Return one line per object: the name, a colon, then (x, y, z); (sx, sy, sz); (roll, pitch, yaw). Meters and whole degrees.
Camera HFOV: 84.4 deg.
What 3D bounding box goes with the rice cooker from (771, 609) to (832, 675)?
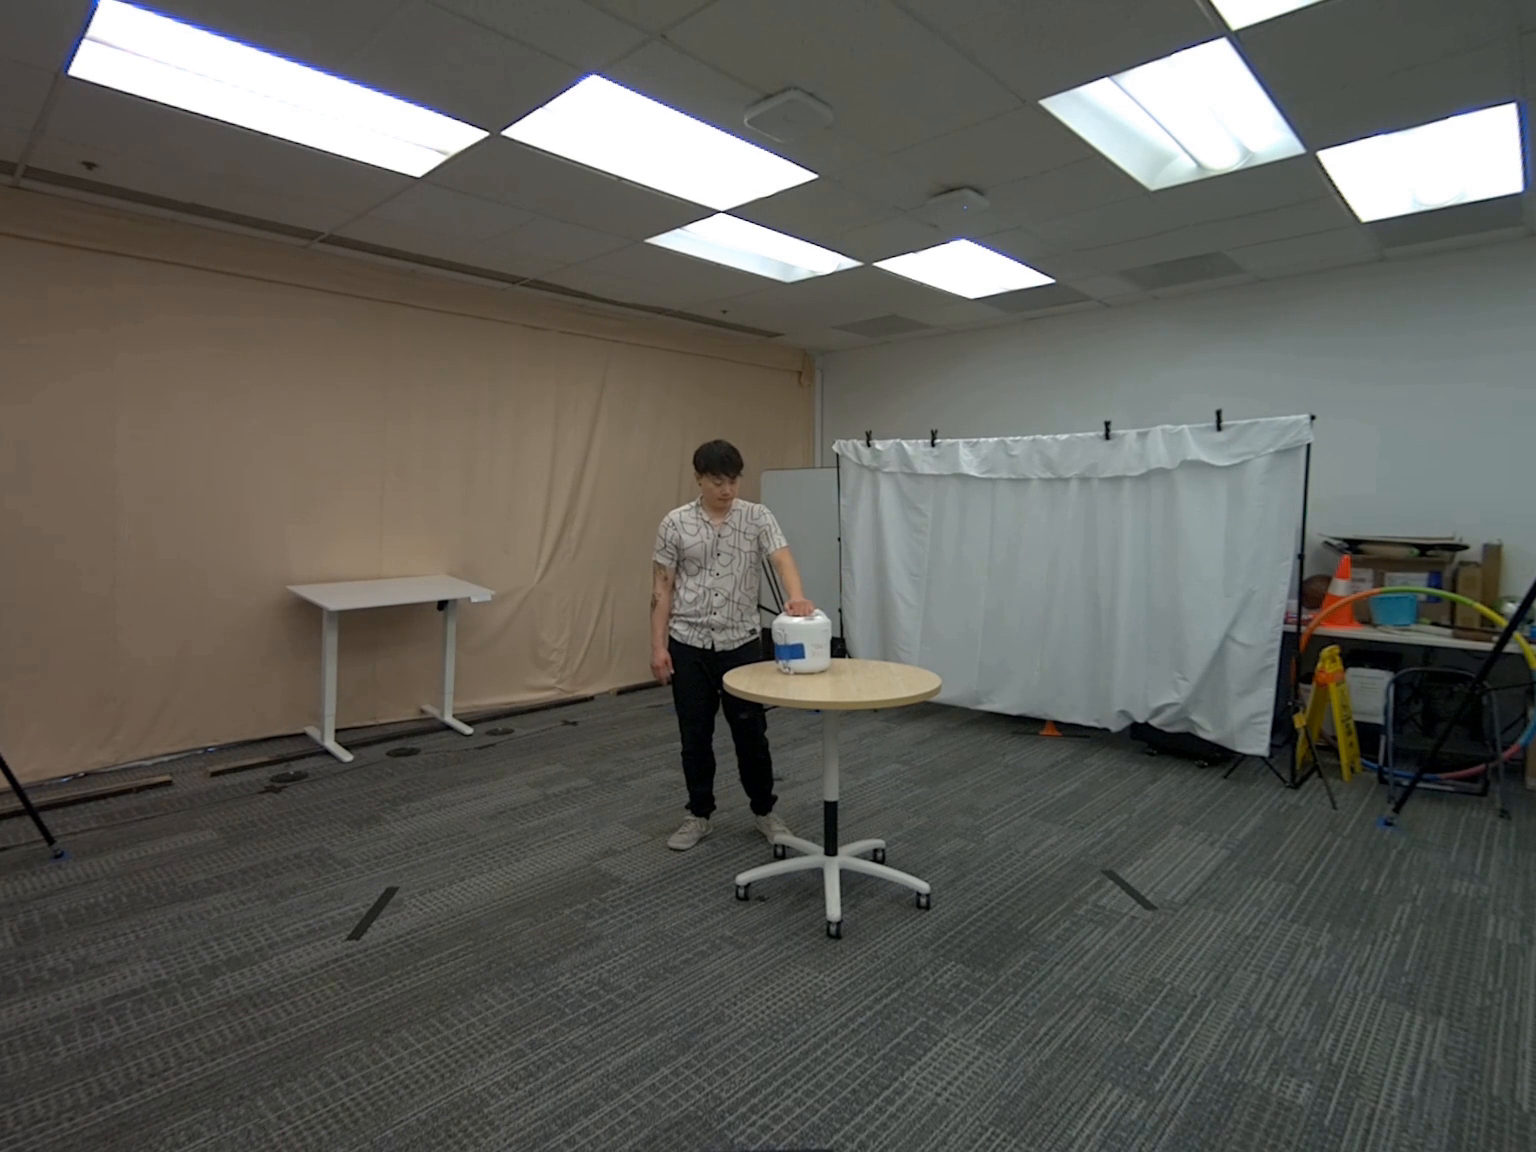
rice cooker: (0.129, 0.235, 3.124); (0.220, 0.232, 0.218); (0, 3, -2)
